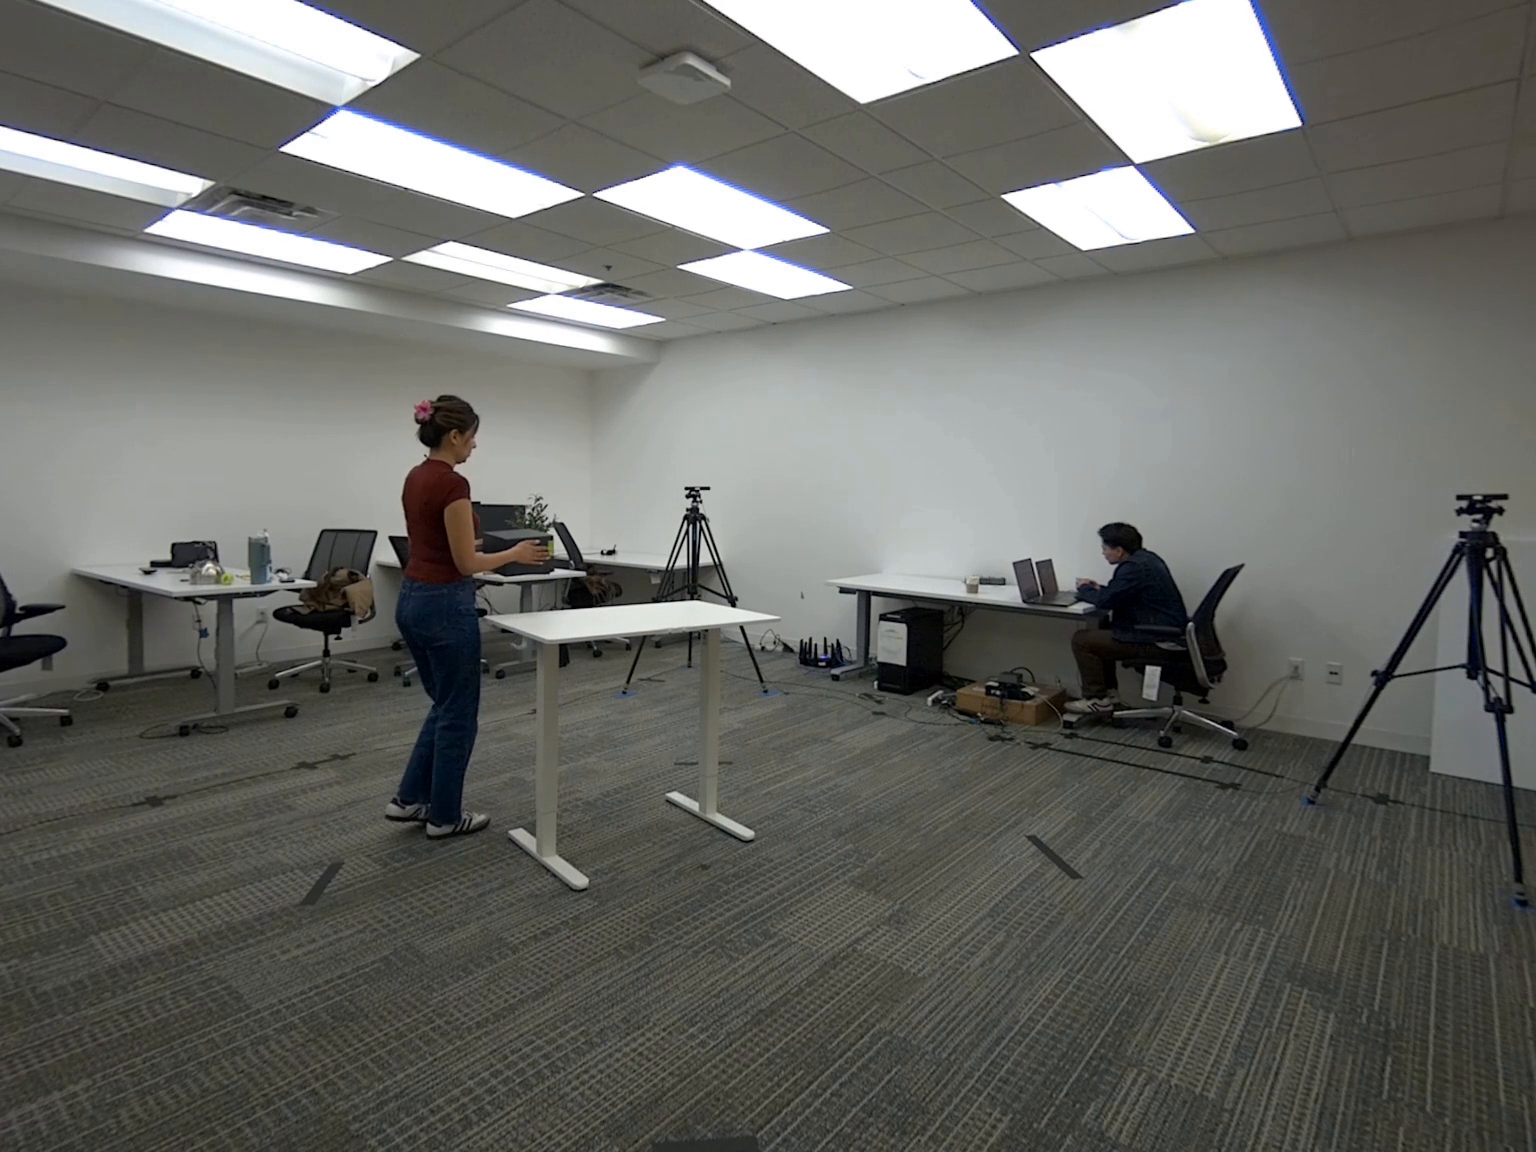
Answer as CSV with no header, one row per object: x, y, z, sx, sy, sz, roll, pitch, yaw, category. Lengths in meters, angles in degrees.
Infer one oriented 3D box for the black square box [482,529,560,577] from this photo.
-1.068,-0.102,3.555,0.211,0.154,0.236,-5,13,-37,black square box
